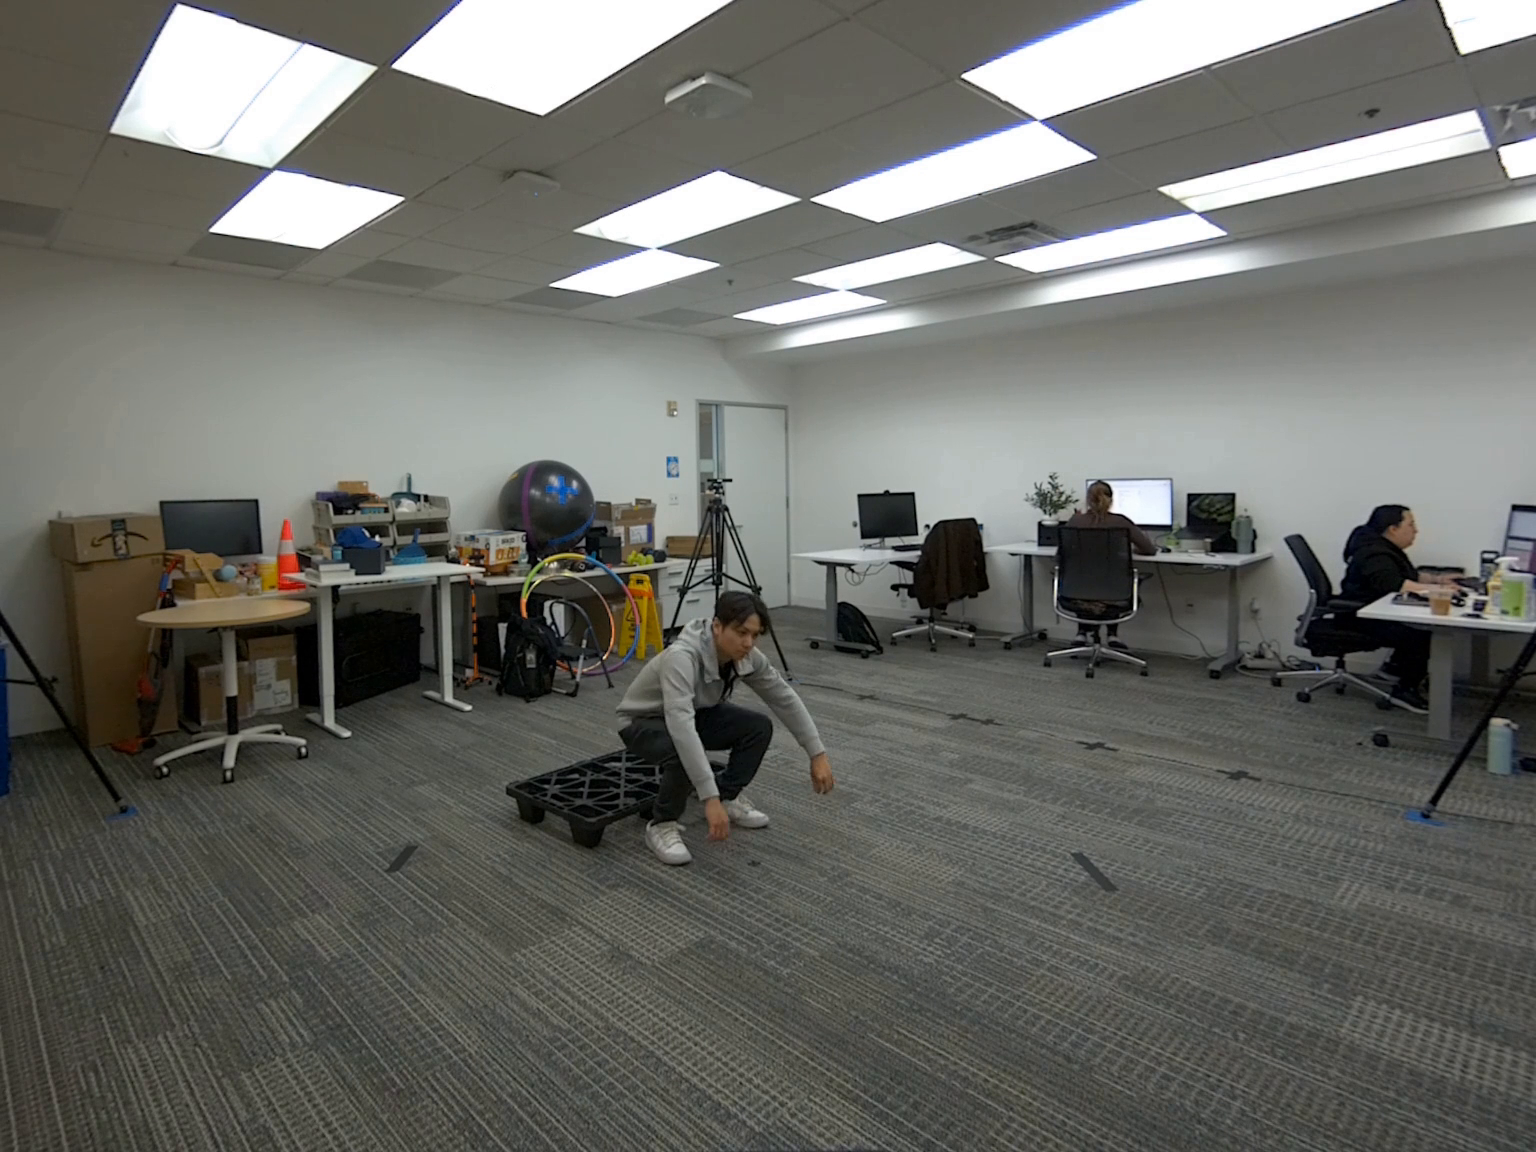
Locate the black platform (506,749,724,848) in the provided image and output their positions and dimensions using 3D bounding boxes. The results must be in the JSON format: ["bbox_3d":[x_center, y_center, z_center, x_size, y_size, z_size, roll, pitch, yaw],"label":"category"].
[{"bbox_3d":[-0.614,0.925,3.672,0.624,0.142,0.785,5,9,42],"label":"black platform"}]
